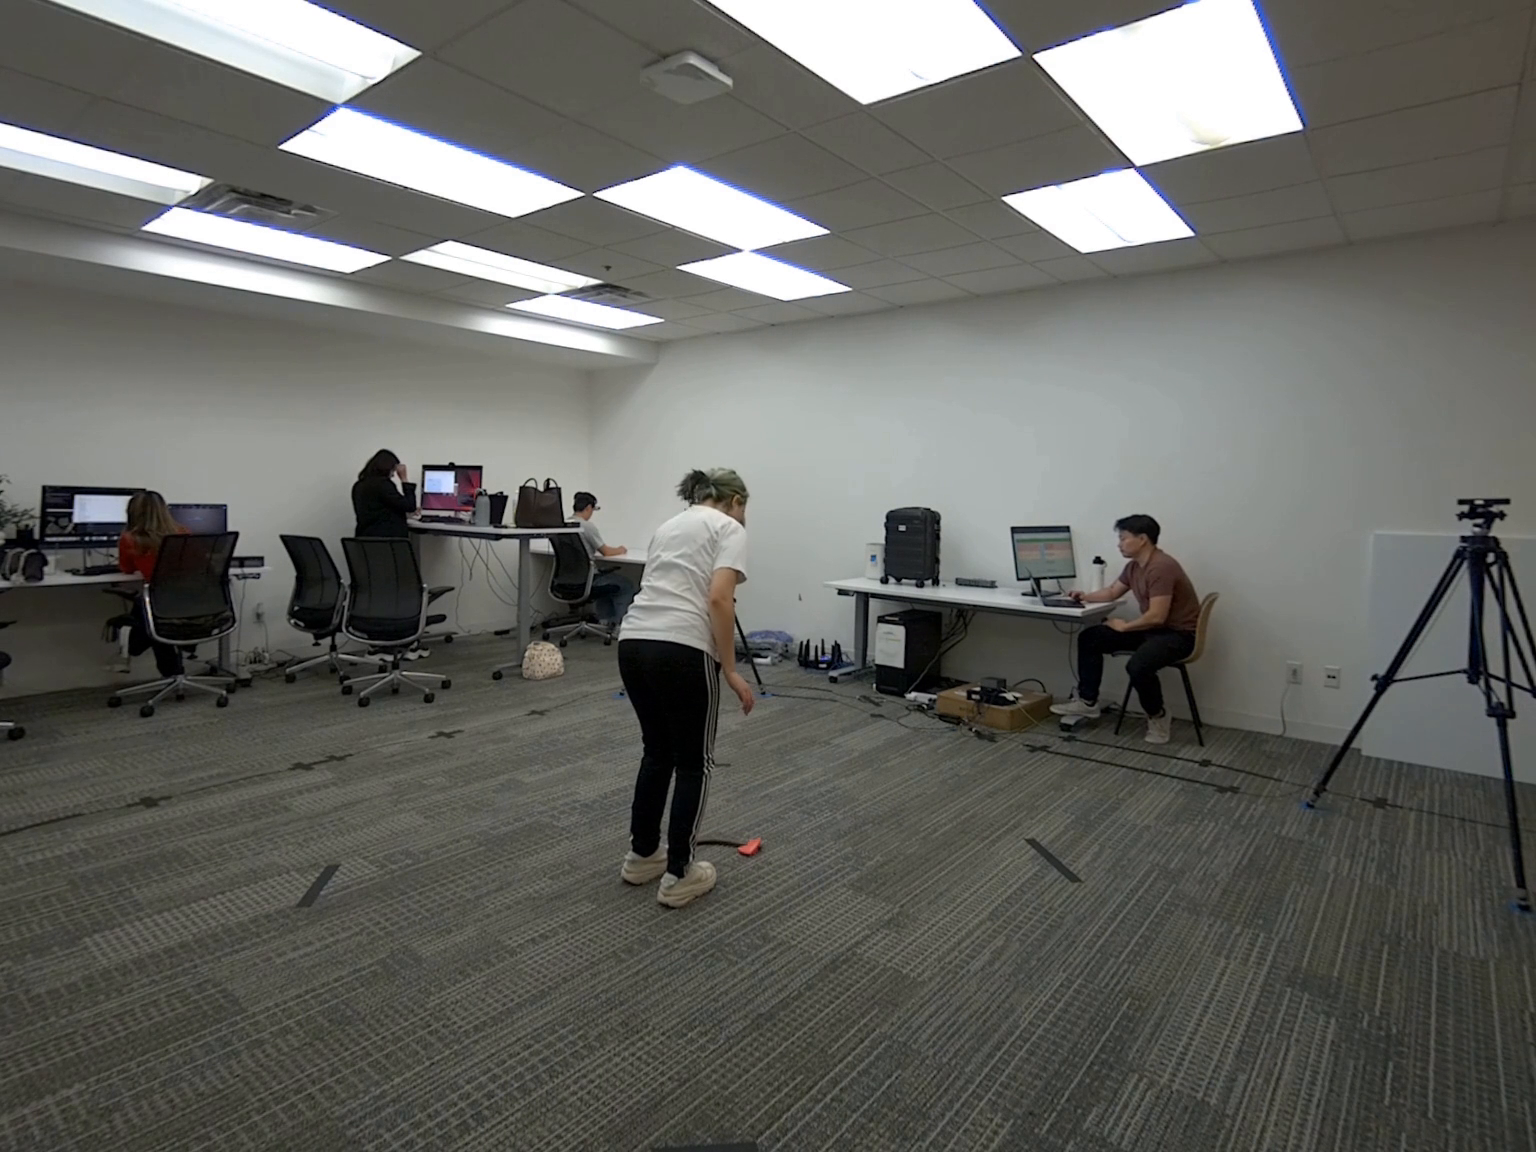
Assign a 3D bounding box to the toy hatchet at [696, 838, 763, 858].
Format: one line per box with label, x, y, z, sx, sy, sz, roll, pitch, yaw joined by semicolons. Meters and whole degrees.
toy hatchet;-0.168;1.047;3.284;0.271;0.029;0.132;-2;10;2
